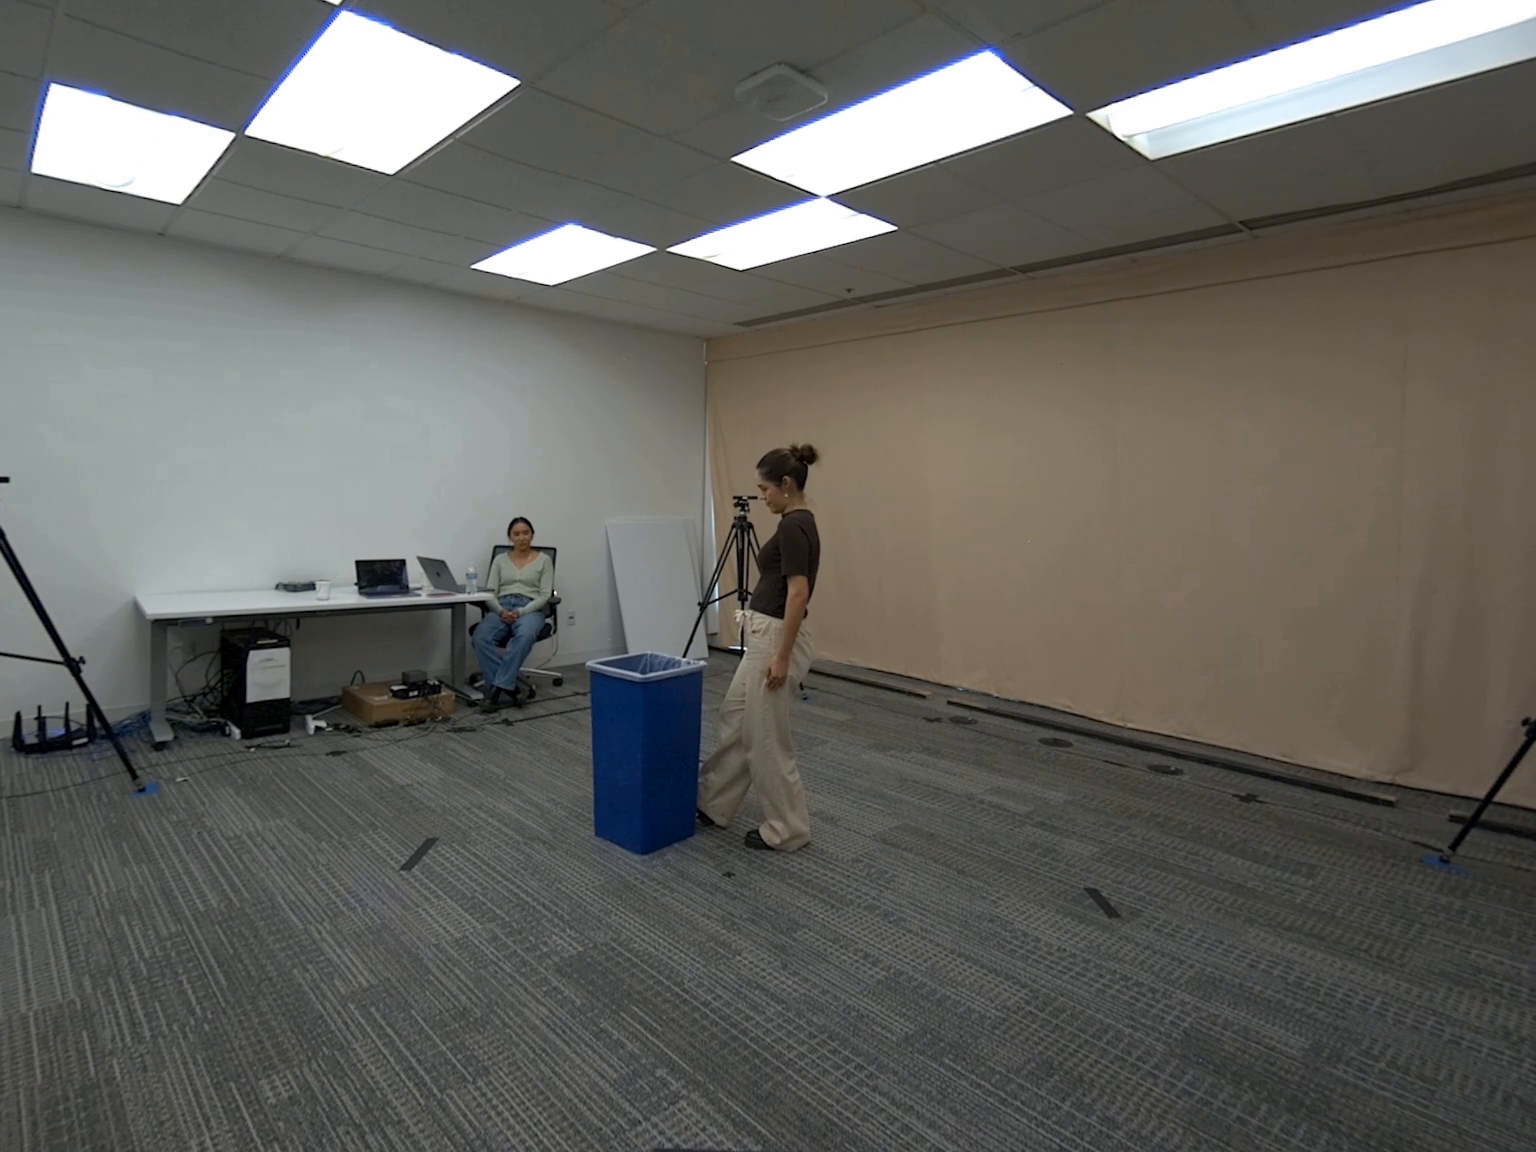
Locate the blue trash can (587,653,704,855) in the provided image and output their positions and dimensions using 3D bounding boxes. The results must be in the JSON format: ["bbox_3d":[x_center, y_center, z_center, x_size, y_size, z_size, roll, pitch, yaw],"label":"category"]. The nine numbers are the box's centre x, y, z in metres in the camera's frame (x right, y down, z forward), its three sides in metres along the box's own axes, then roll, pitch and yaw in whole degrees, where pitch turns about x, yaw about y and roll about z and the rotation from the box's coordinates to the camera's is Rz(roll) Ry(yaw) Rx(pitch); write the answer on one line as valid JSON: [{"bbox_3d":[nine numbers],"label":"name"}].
[{"bbox_3d":[-0.511,0.703,3.436,0.383,0.711,0.369,5,5,40],"label":"blue trash can"}]
